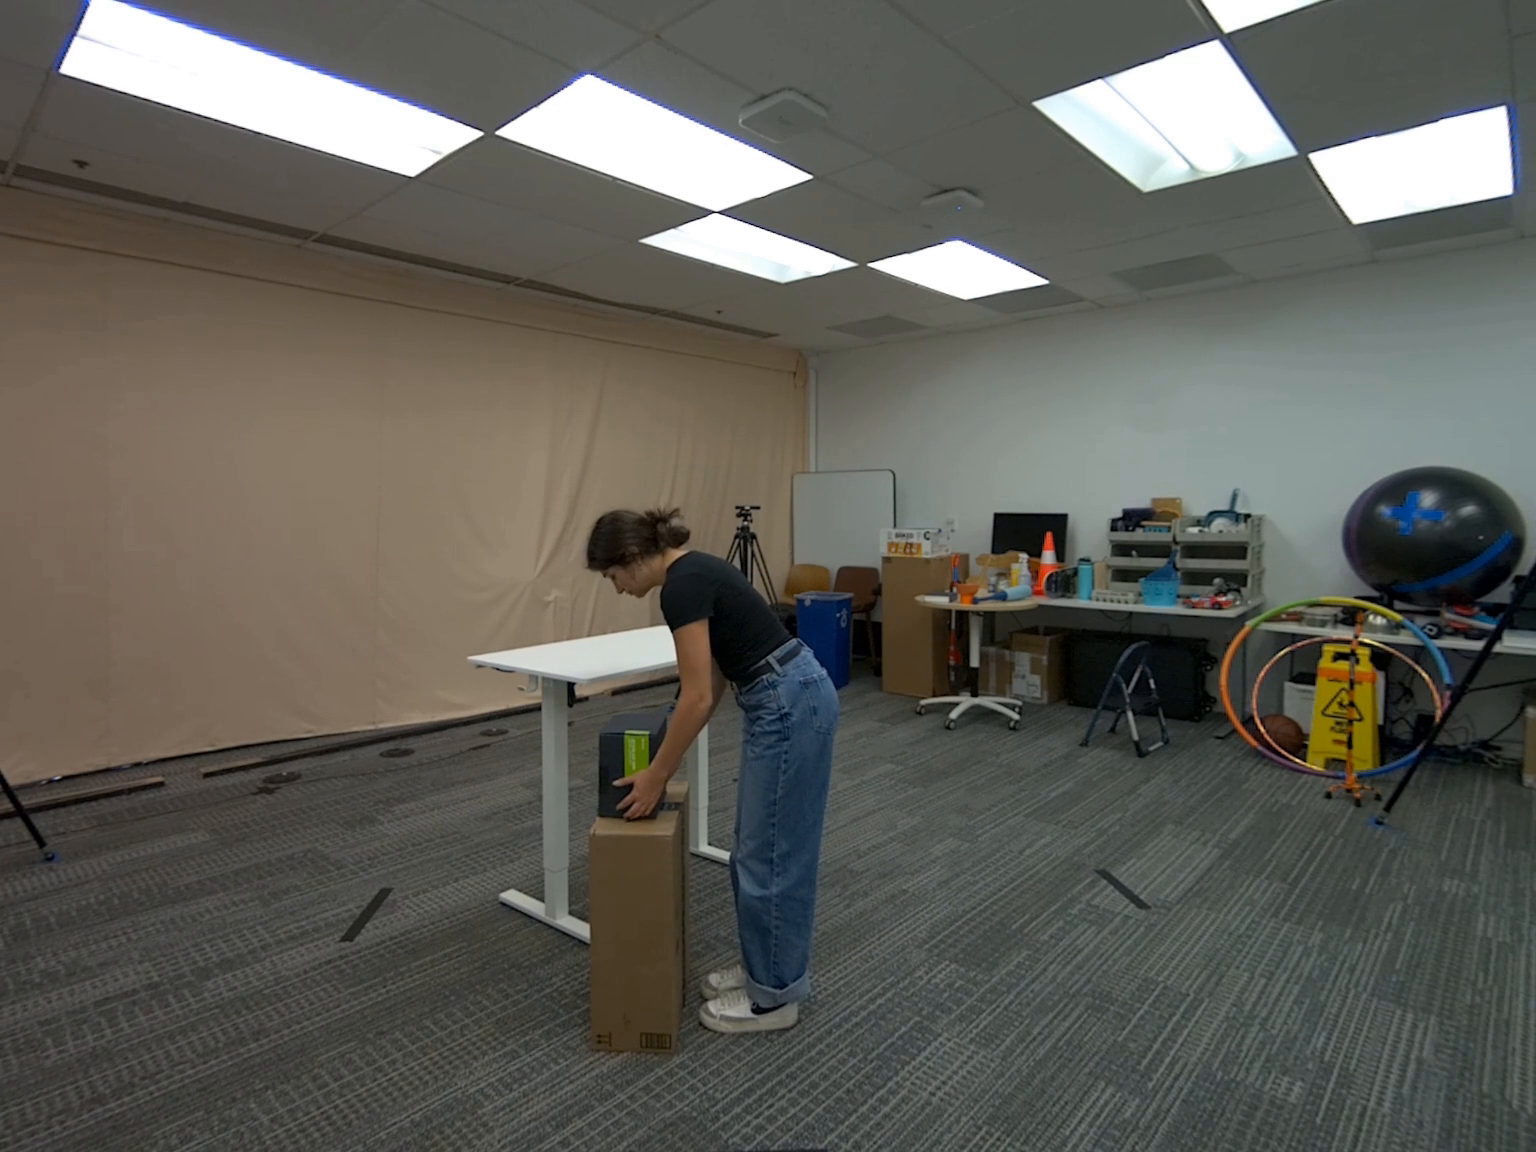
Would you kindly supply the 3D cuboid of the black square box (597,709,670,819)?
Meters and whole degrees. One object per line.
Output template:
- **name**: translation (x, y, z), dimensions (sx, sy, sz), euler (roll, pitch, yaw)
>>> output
- **black square box**: translation (-0.374, 0.513, 2.343), dimensions (0.156, 0.227, 0.217), euler (-1, 6, 0)
